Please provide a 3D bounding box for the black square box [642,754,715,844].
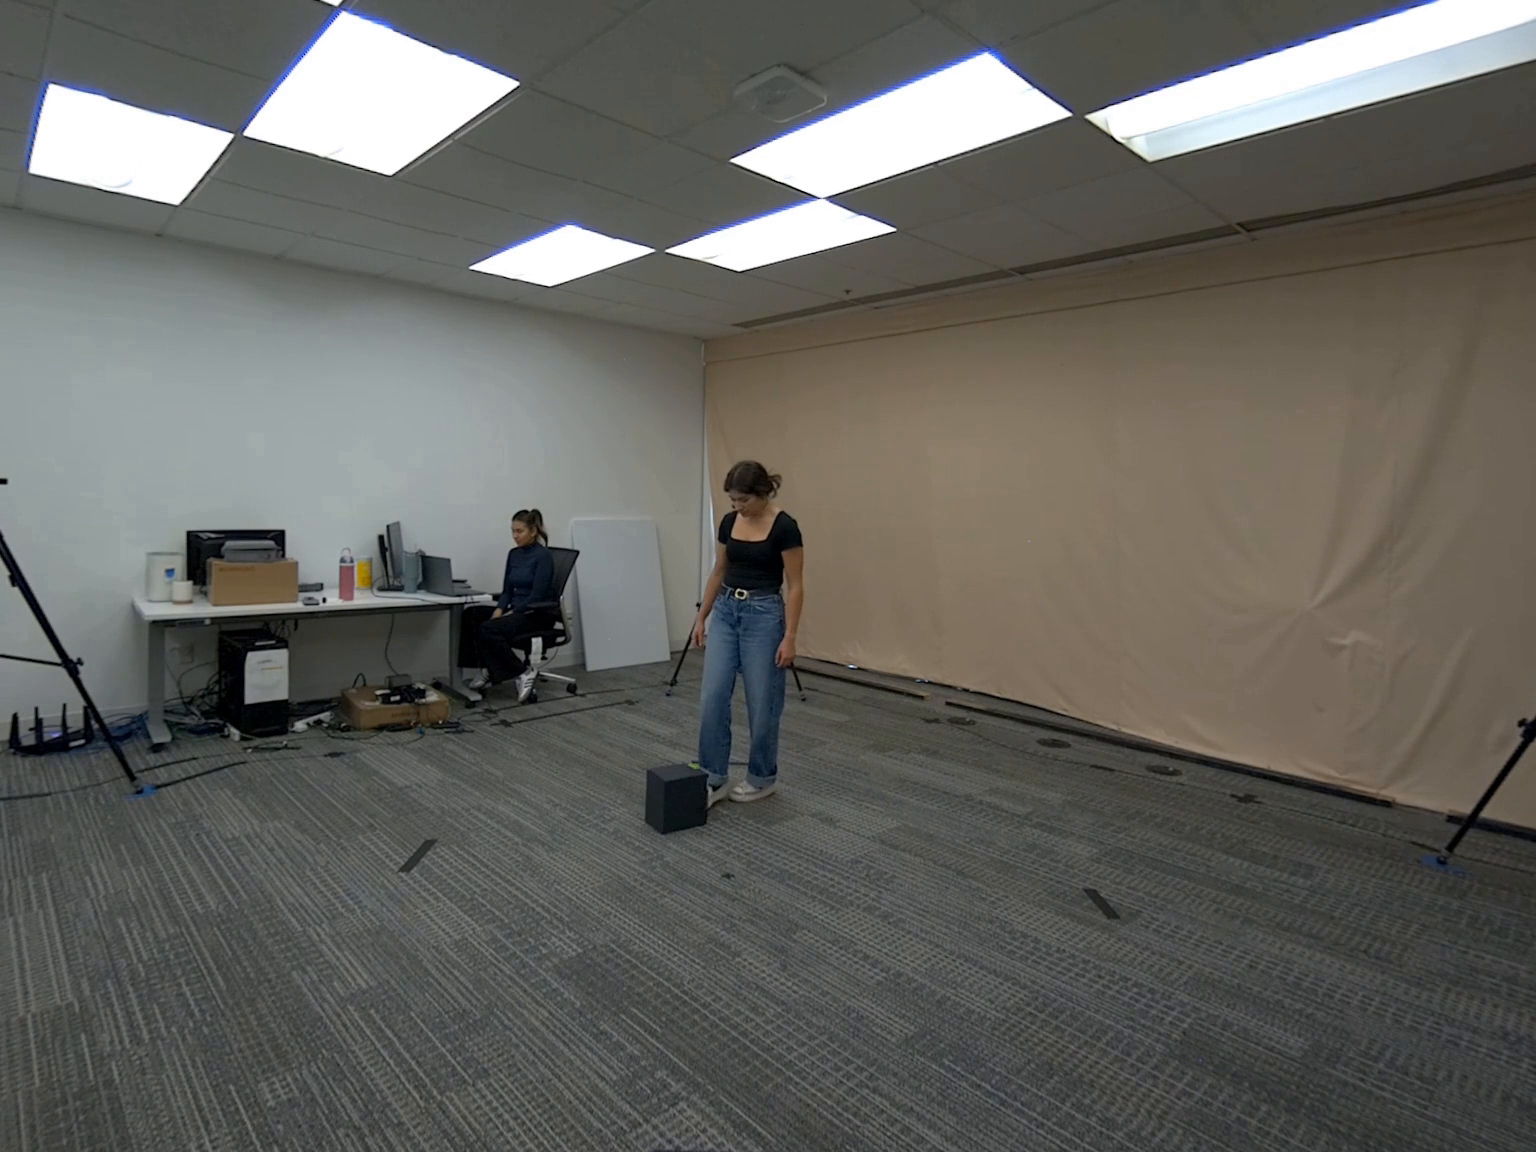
[{"bbox_3d":[-0.399,0.938,3.573,0.212,0.227,0.160,0,4,-36],"label":"black square box"}]
